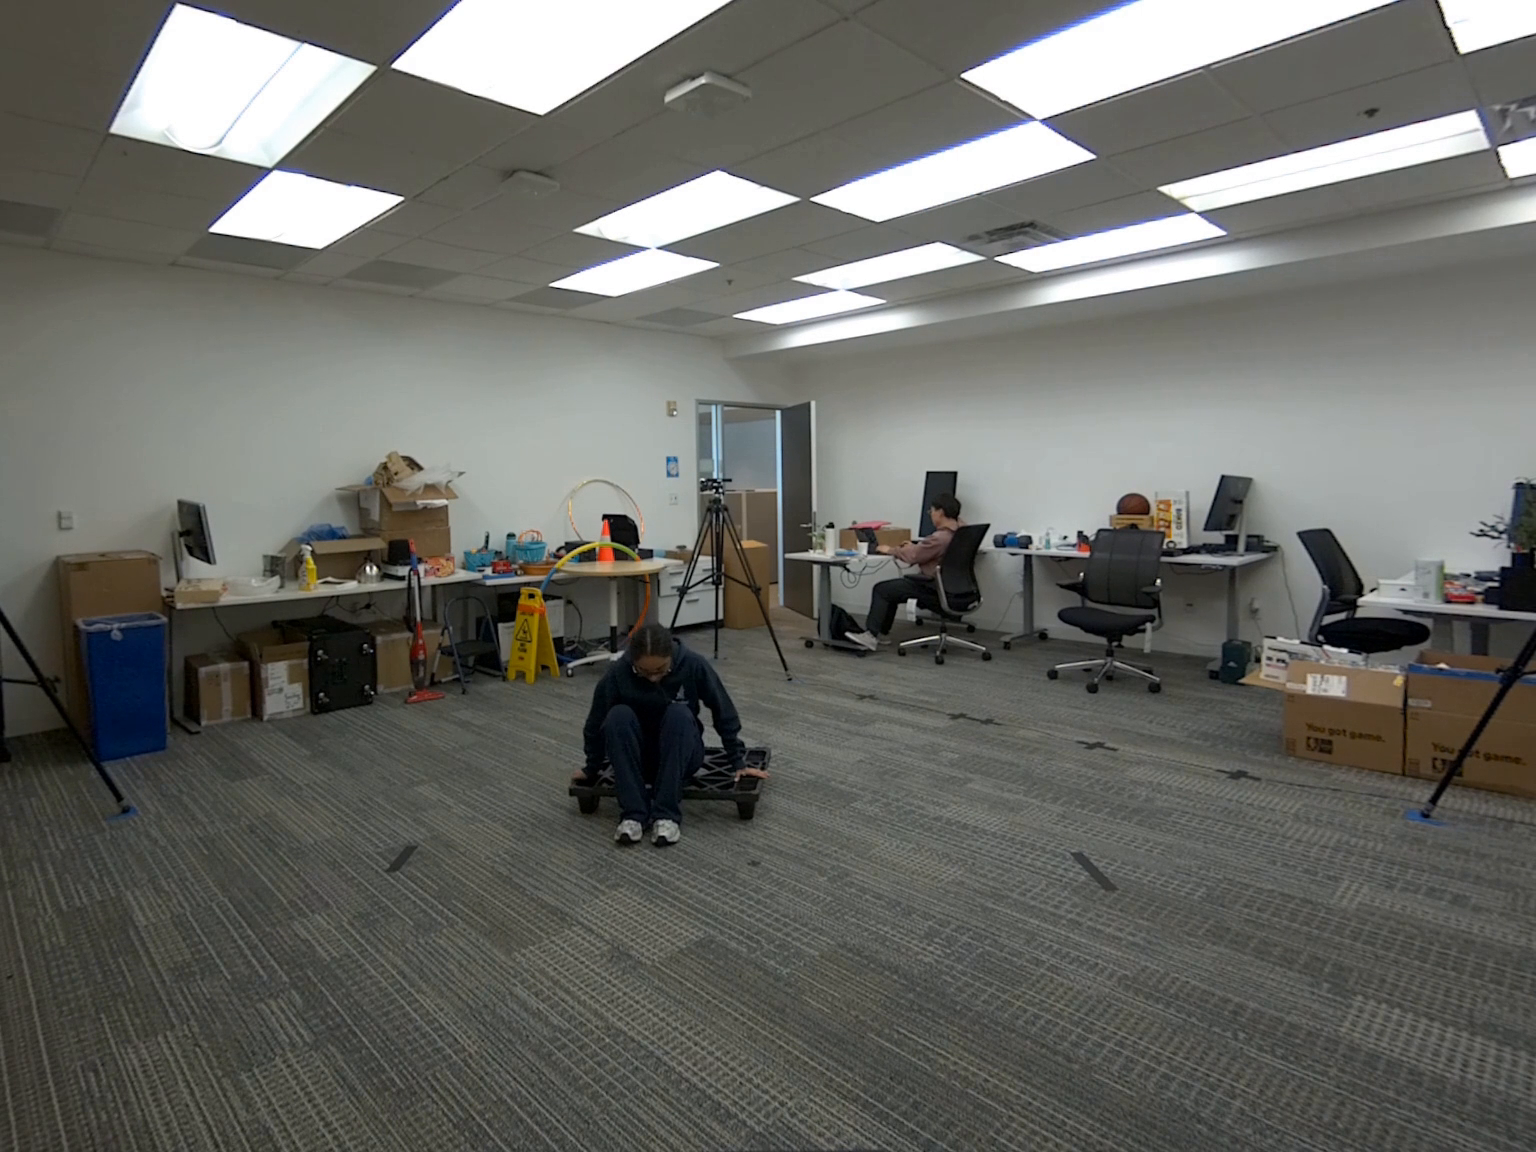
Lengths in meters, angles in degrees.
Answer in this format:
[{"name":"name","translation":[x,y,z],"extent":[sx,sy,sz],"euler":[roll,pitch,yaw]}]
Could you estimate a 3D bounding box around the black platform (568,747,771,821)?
[{"name":"black platform","translation":[-0.403,0.906,3.790],"extent":[0.812,0.143,0.603],"euler":[0,5,7]}]
